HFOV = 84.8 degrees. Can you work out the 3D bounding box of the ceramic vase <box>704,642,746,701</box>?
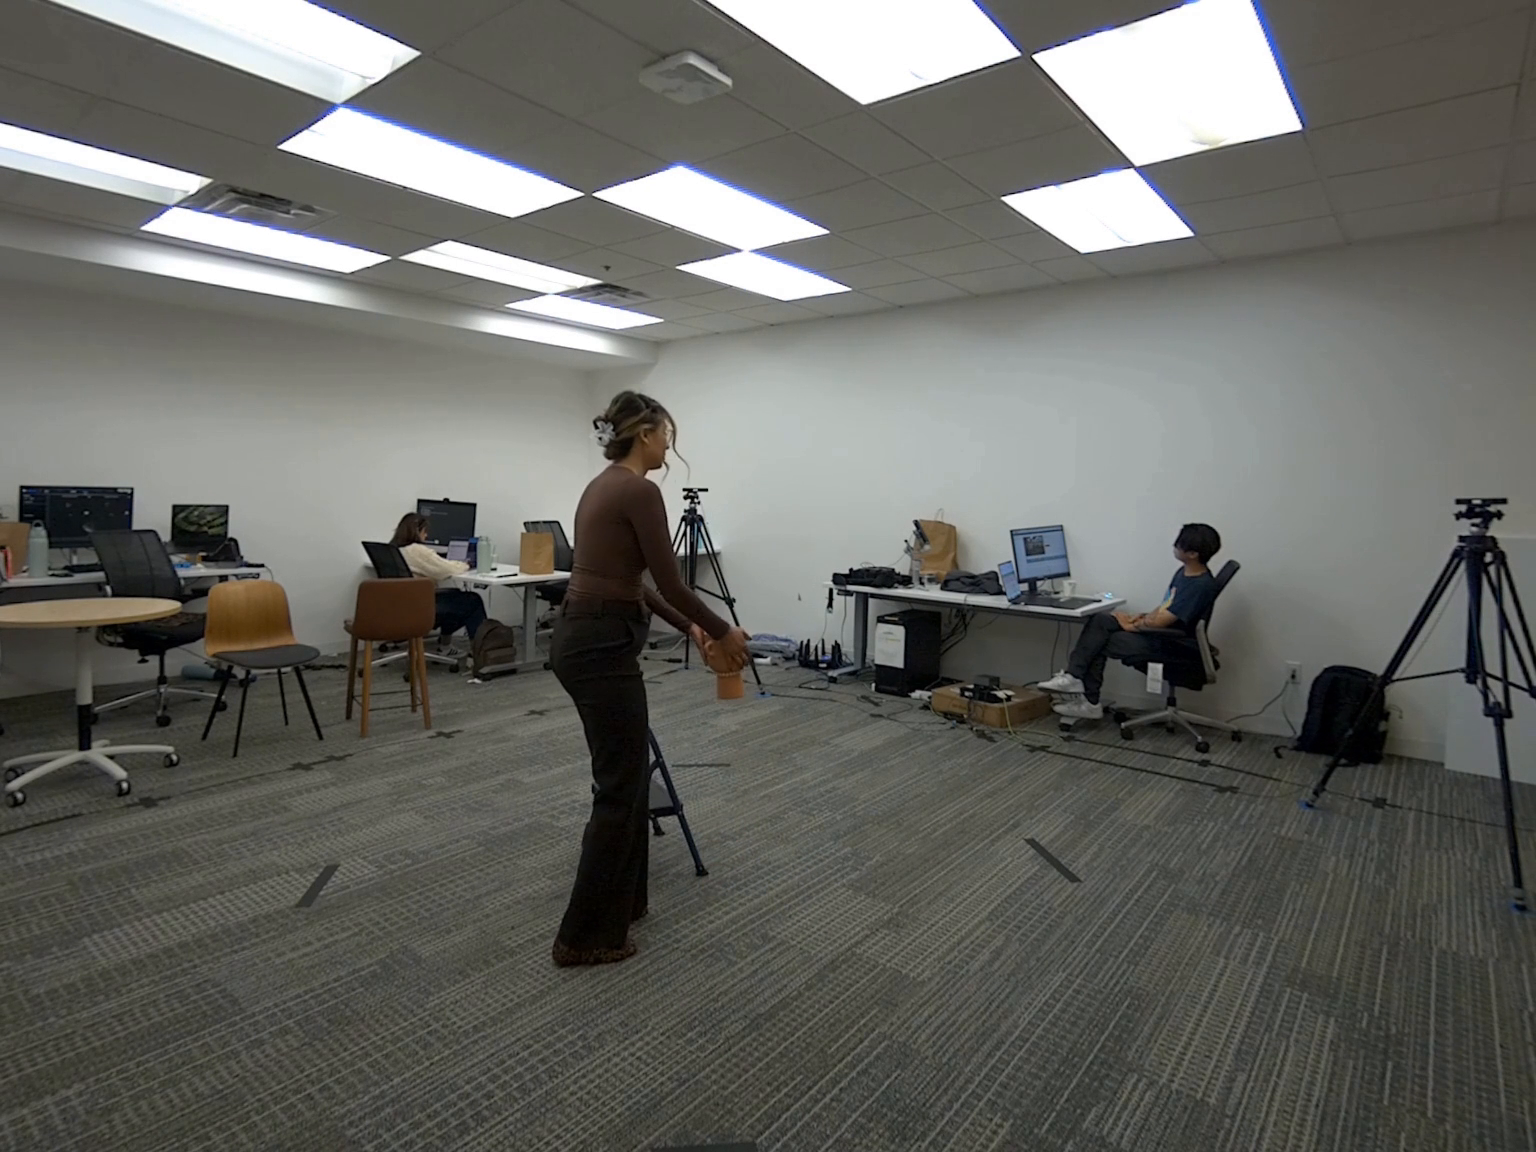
[{"bbox_3d":[-0.145,0.300,2.798,0.158,0.219,0.136,-8,4,-8],"label":"ceramic vase"}]
